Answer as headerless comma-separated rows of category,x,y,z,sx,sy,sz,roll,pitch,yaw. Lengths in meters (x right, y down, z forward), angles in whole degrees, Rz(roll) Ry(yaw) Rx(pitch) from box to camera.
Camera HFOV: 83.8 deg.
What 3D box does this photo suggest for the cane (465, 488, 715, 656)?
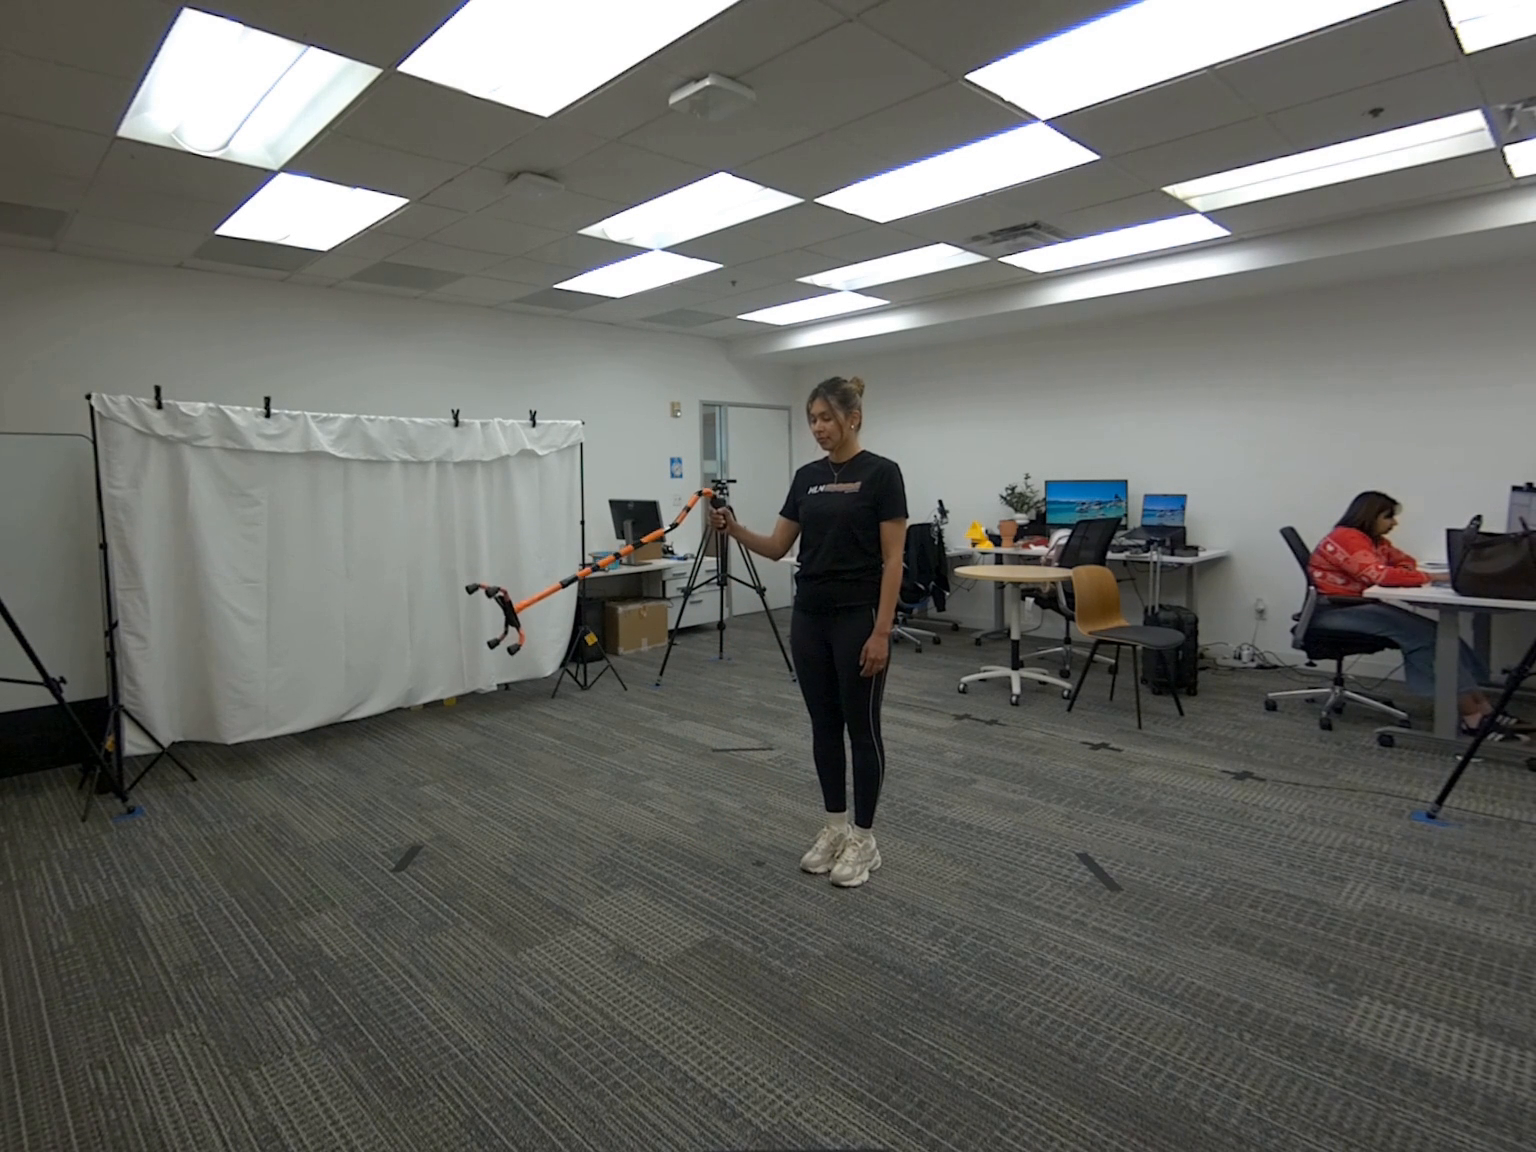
cane,-0.472,-0.041,2.659,0.156,0.202,0.898,2,27,48
